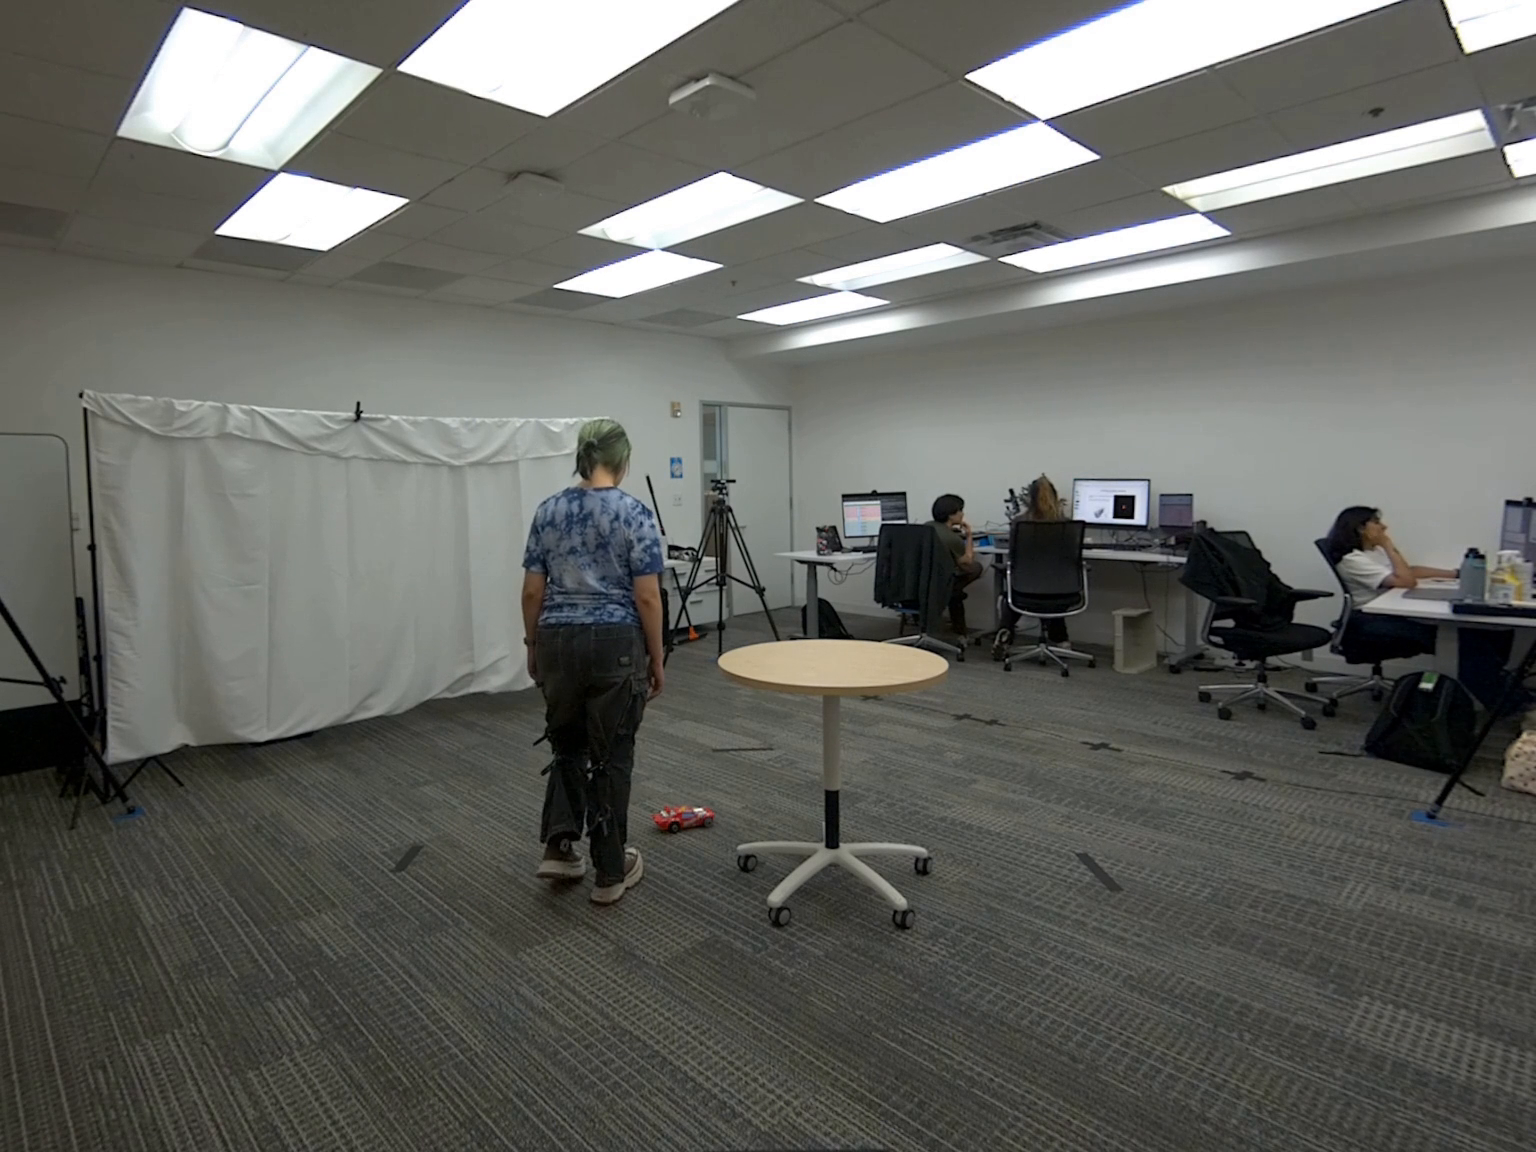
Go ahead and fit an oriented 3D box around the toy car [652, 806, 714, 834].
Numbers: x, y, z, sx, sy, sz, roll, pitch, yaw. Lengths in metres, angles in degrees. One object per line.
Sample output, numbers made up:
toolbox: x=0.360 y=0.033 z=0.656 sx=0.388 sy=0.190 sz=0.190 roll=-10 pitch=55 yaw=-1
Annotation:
toy car: x=-0.351 y=0.980 z=3.453 sx=0.249 sy=0.083 sz=0.133 roll=9 pitch=0 yaw=-23
